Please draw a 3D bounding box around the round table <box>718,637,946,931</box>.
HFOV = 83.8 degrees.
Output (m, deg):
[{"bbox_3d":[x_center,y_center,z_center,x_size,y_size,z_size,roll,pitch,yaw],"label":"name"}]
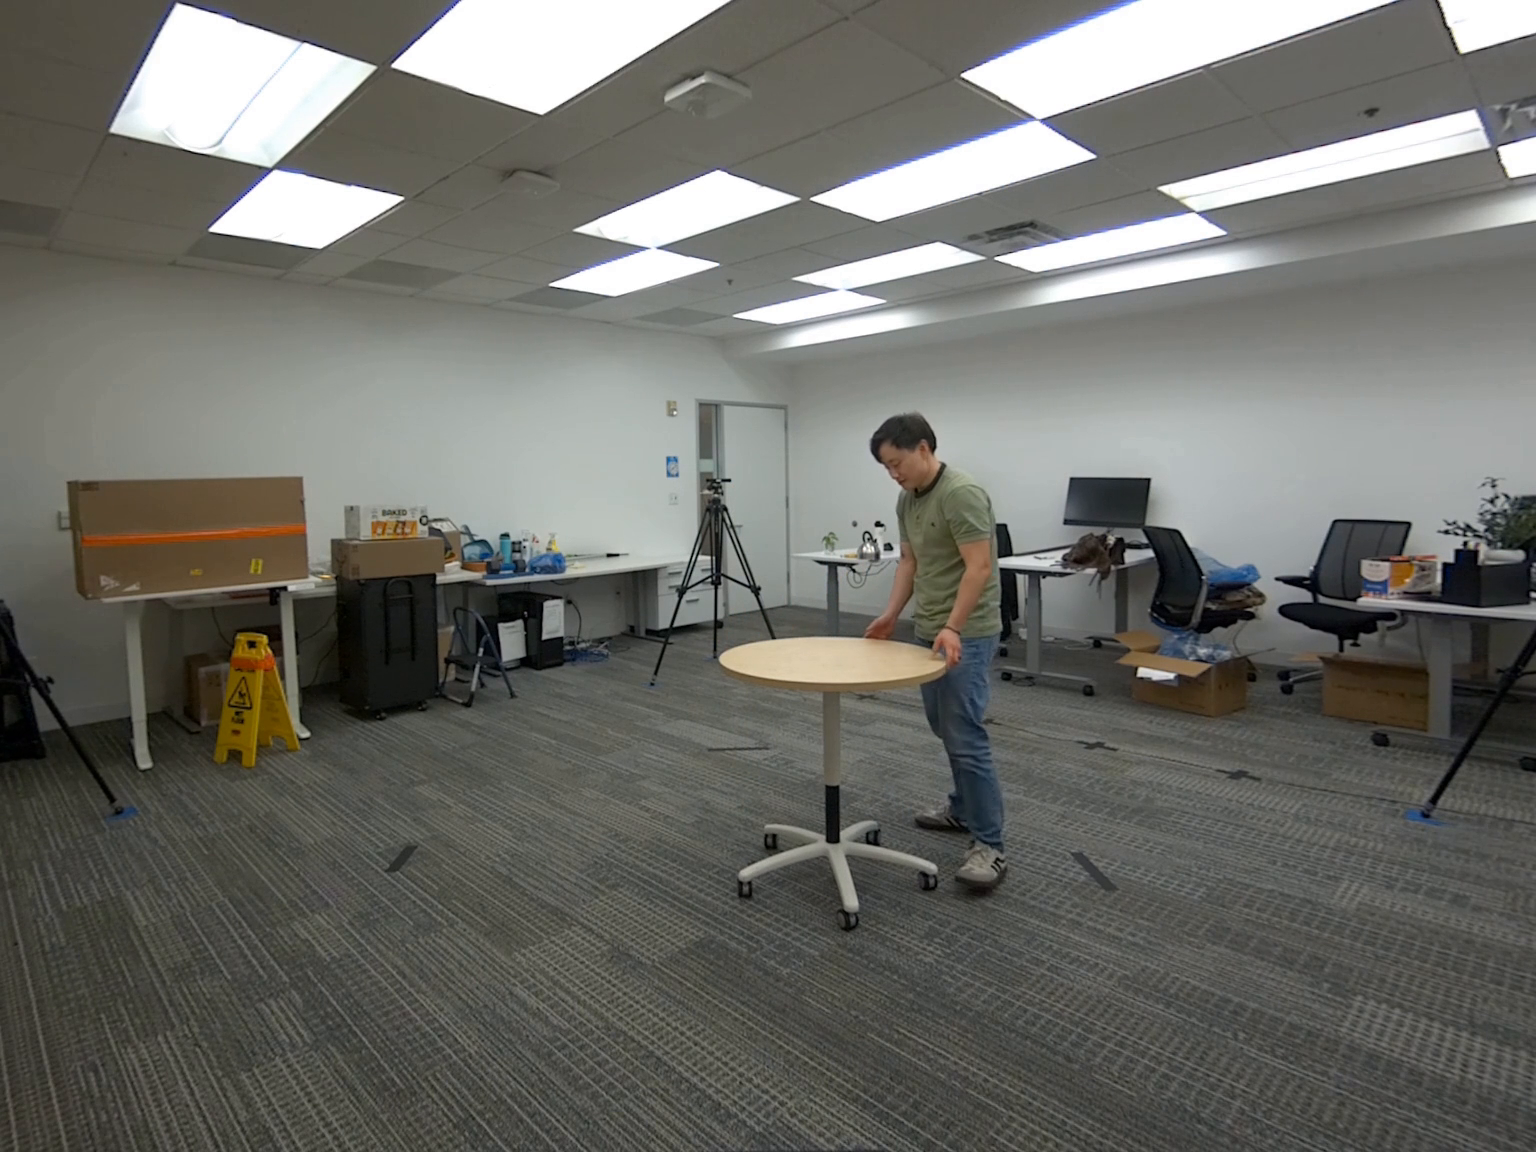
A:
[{"bbox_3d":[0.219,0.669,2.940,0.763,0.791,0.768,-1,5,-2],"label":"round table"}]
